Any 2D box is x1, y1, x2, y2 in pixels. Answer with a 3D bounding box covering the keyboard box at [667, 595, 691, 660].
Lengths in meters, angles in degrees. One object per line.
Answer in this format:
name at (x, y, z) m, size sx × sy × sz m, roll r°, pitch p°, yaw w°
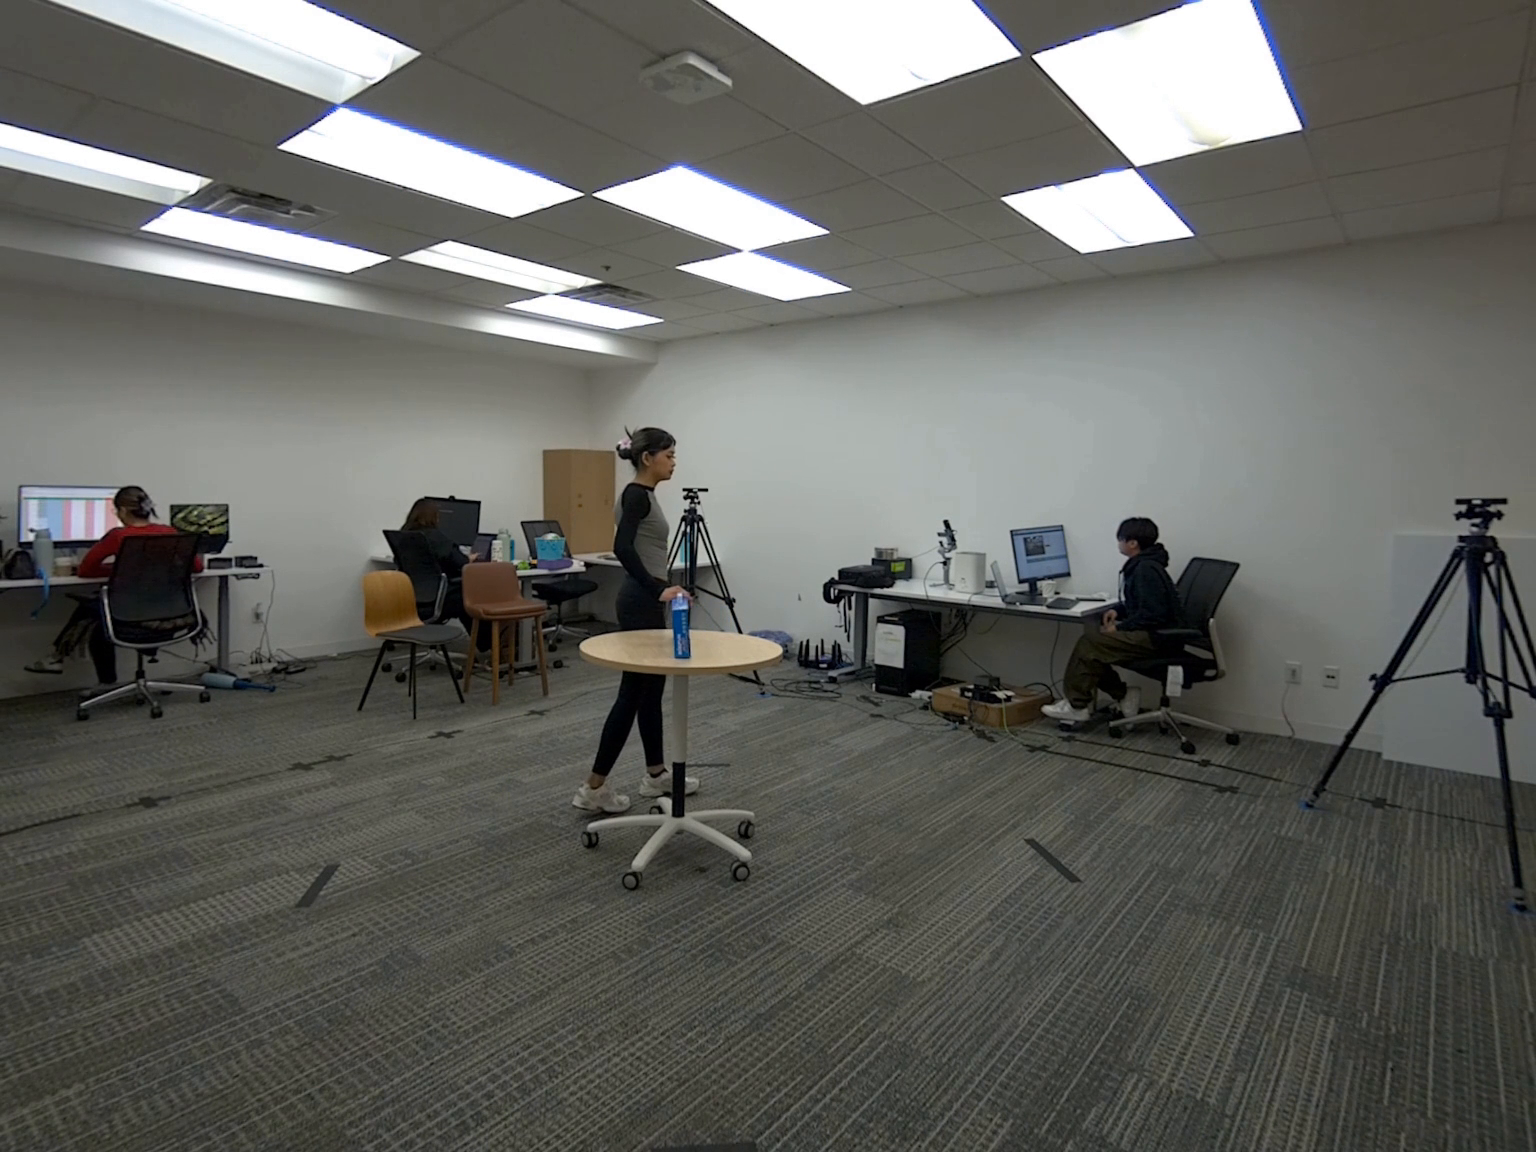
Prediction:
keyboard box at (-0.339, 0.172, 3.192) m, size 0.059 × 0.175 × 0.441 m, roll -3°, pitch 5°, yaw -7°
